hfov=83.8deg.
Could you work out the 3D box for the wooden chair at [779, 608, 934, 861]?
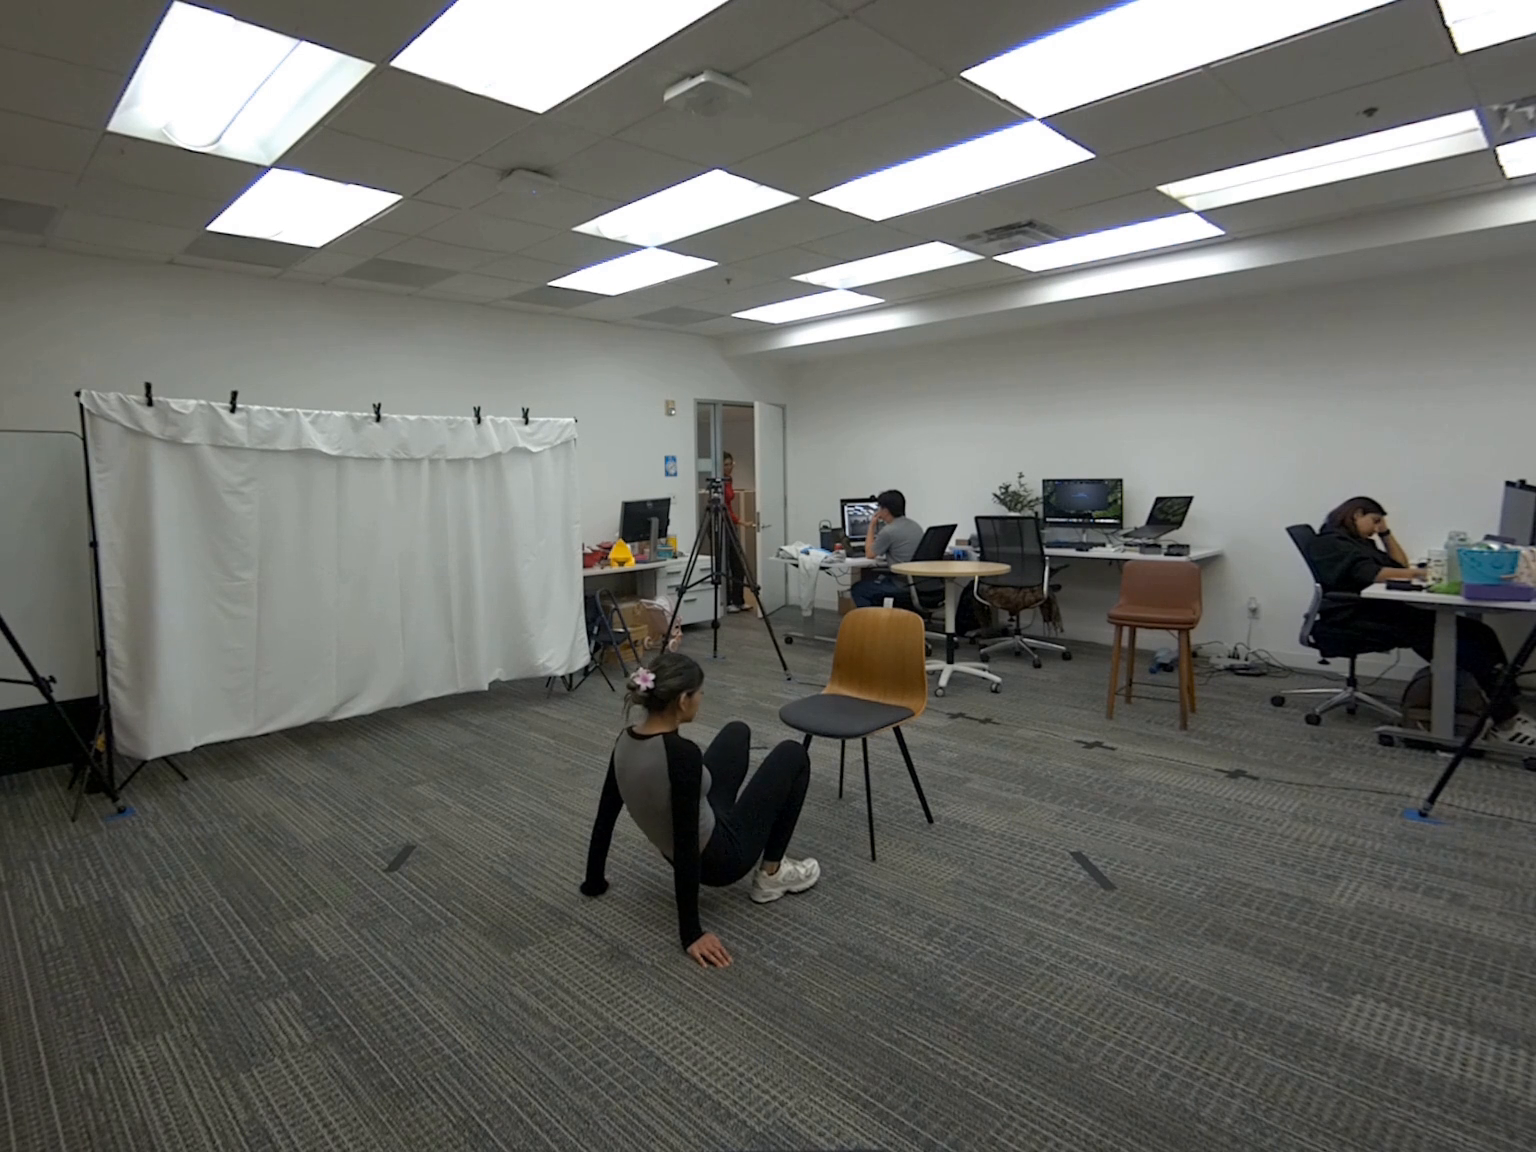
[{"bbox_3d":[0.340,0.576,3.377,0.492,0.877,0.508,3,1,40],"label":"wooden chair"}]
